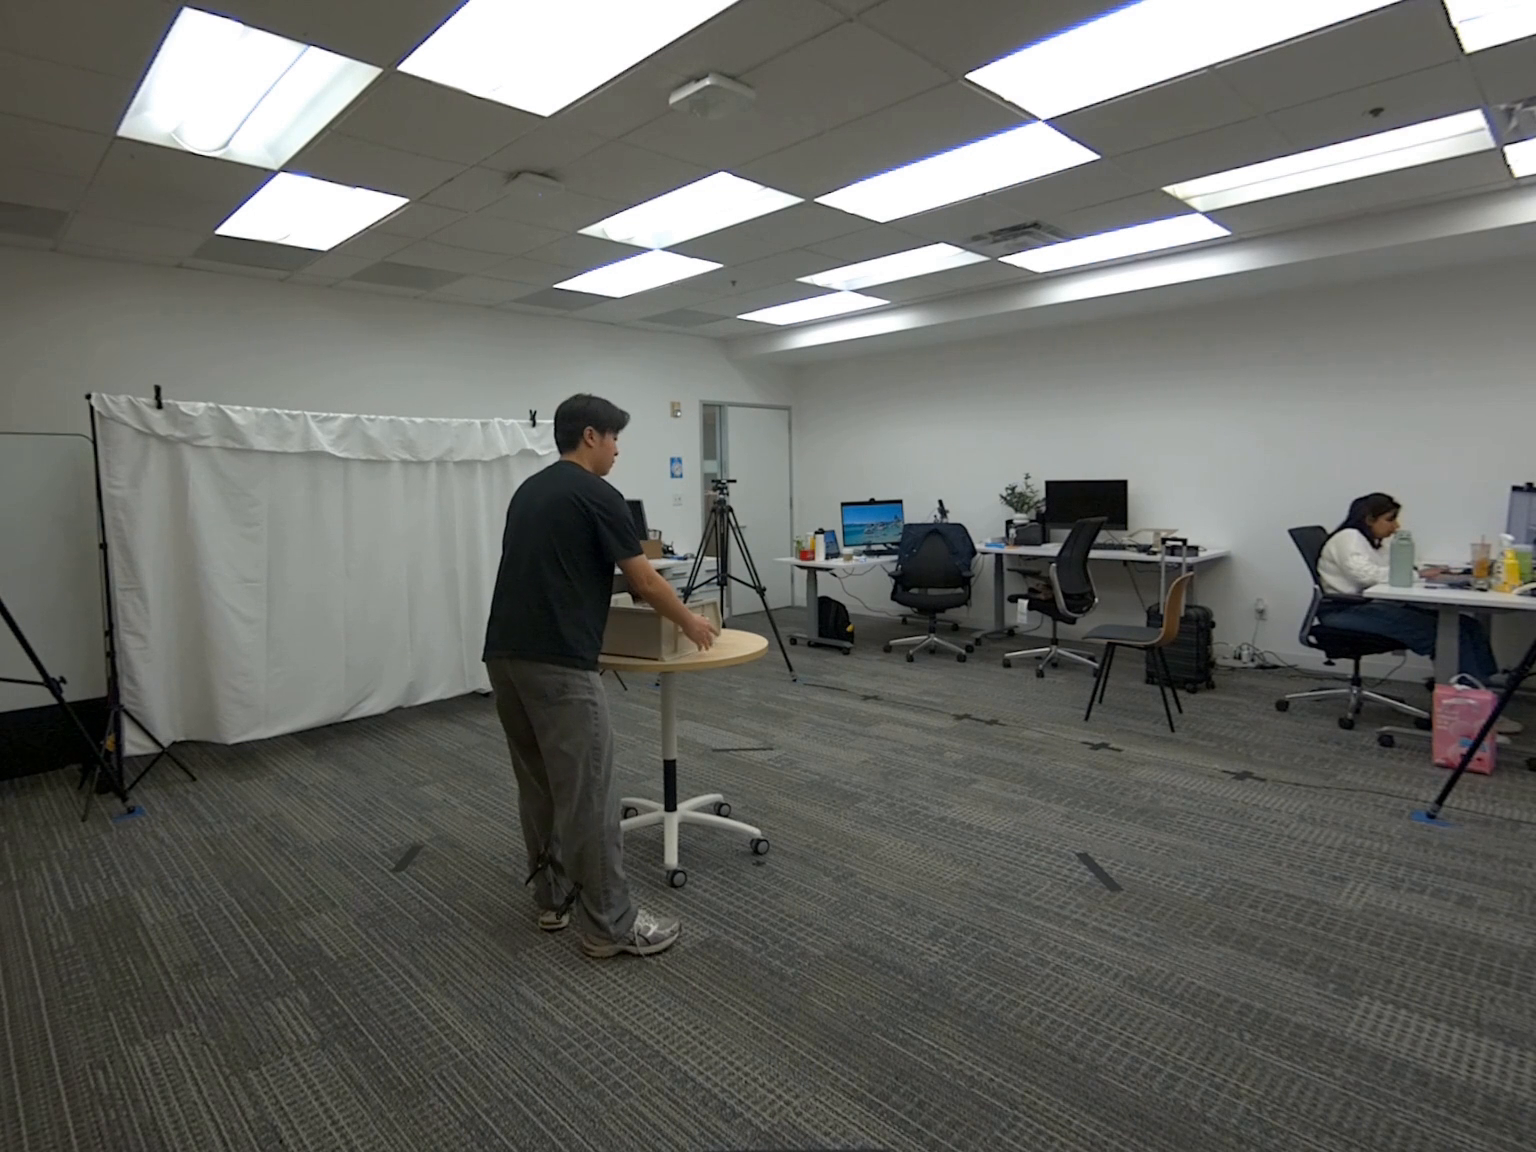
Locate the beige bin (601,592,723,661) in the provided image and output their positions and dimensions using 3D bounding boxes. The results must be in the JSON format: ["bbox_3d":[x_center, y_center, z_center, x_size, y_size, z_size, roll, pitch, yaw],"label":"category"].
[{"bbox_3d":[-0.438,0.178,3.137,0.434,0.188,0.369,3,8,30],"label":"beige bin"}]
